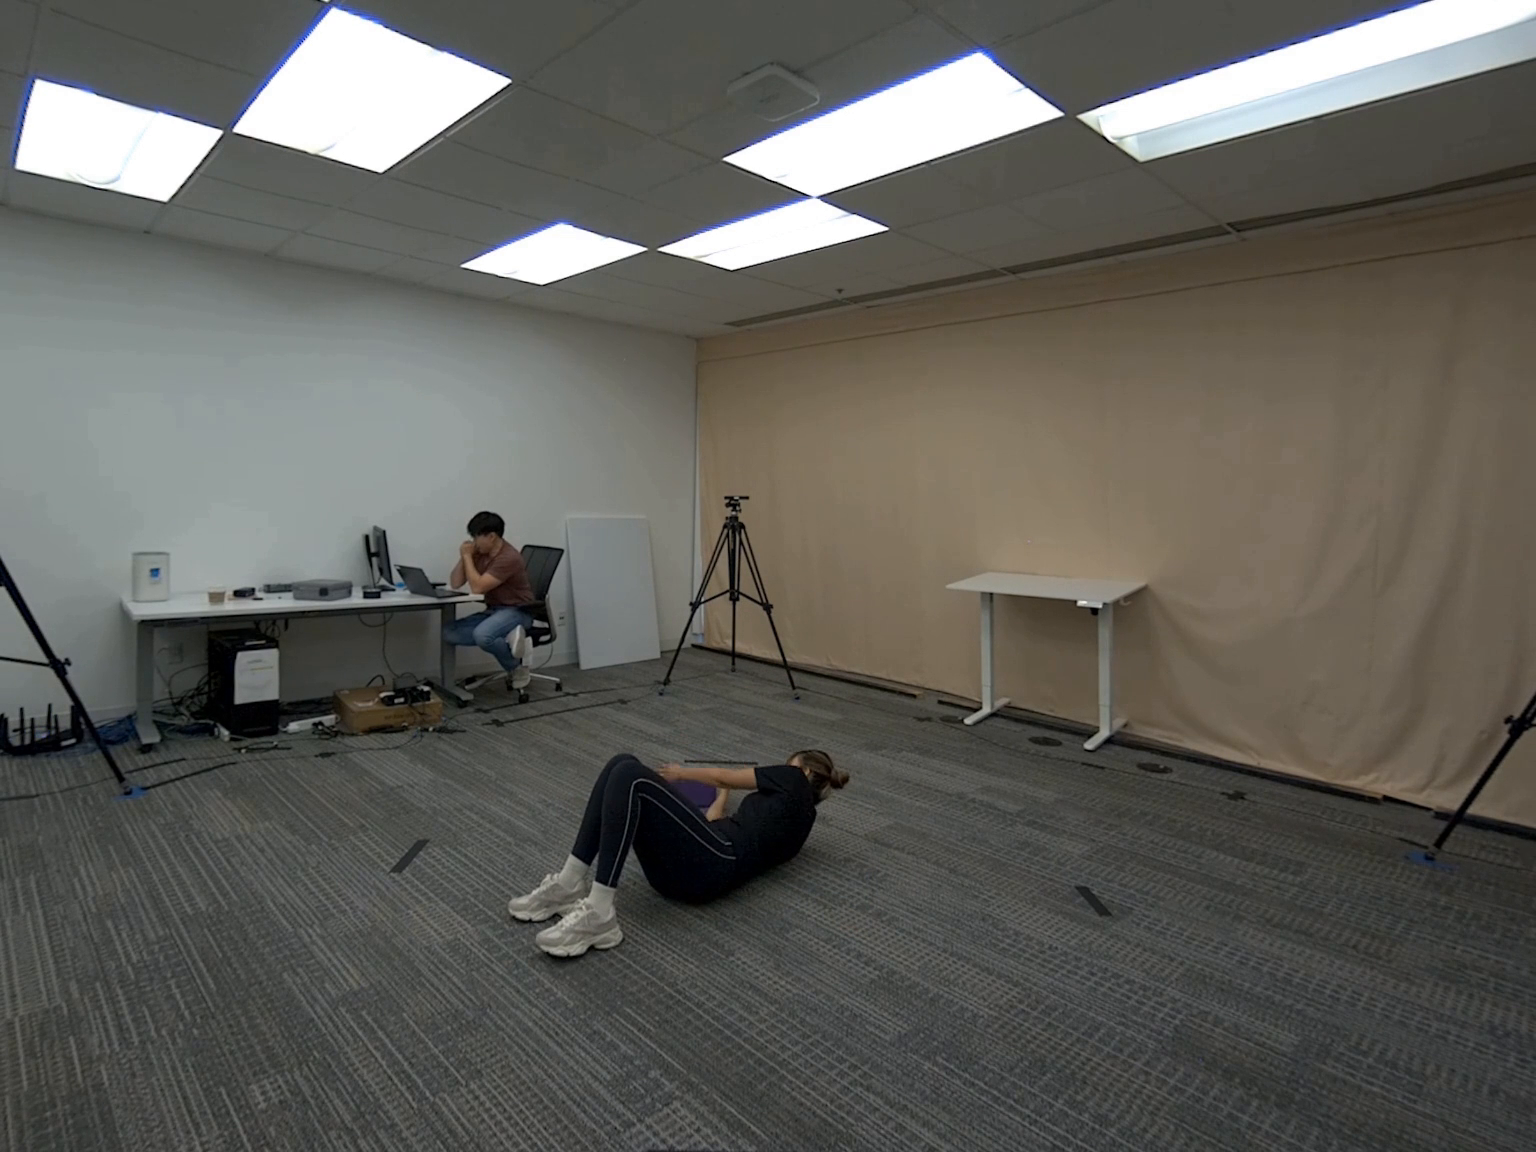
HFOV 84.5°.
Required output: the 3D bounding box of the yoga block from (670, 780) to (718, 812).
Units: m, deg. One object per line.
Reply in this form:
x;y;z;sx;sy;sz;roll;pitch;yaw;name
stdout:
-0.354;0.969;3.806;0.228;0.149;0.077;1;1;-8;yoga block
